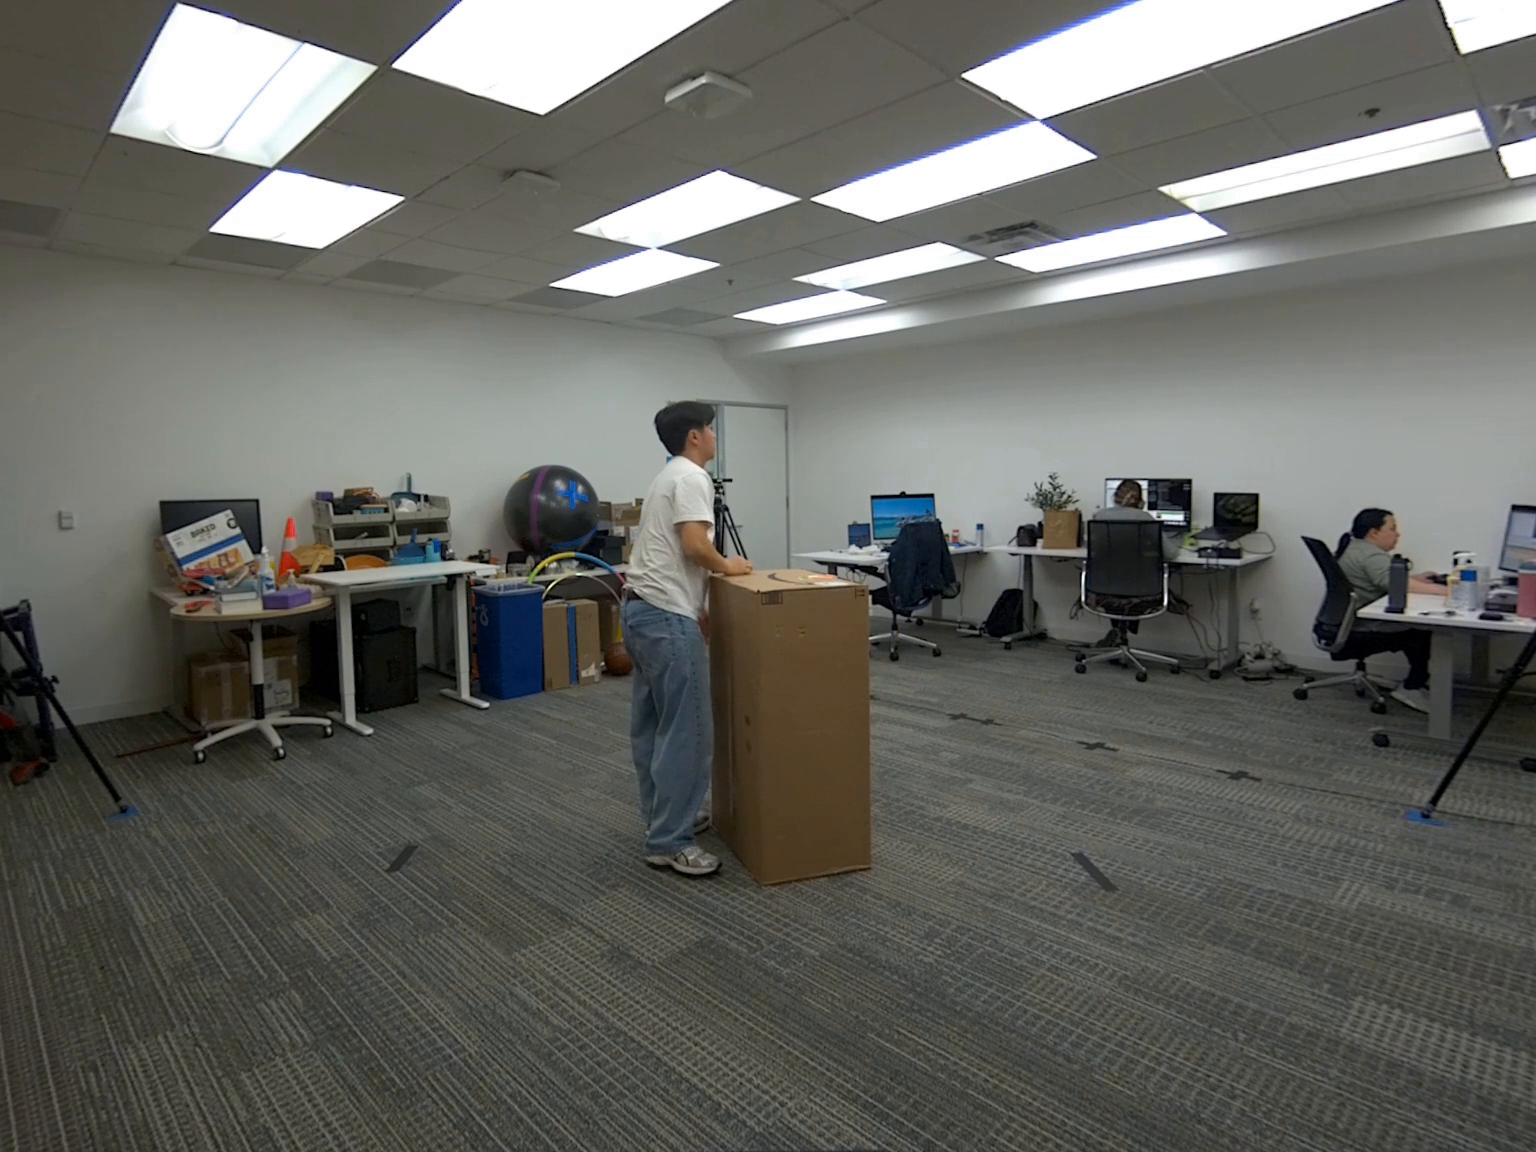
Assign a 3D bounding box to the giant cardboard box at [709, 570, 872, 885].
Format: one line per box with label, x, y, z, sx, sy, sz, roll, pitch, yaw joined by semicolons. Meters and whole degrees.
giant cardboard box;0.072;0.520;3.225;0.418;1.023;0.590;-2;4;-21
